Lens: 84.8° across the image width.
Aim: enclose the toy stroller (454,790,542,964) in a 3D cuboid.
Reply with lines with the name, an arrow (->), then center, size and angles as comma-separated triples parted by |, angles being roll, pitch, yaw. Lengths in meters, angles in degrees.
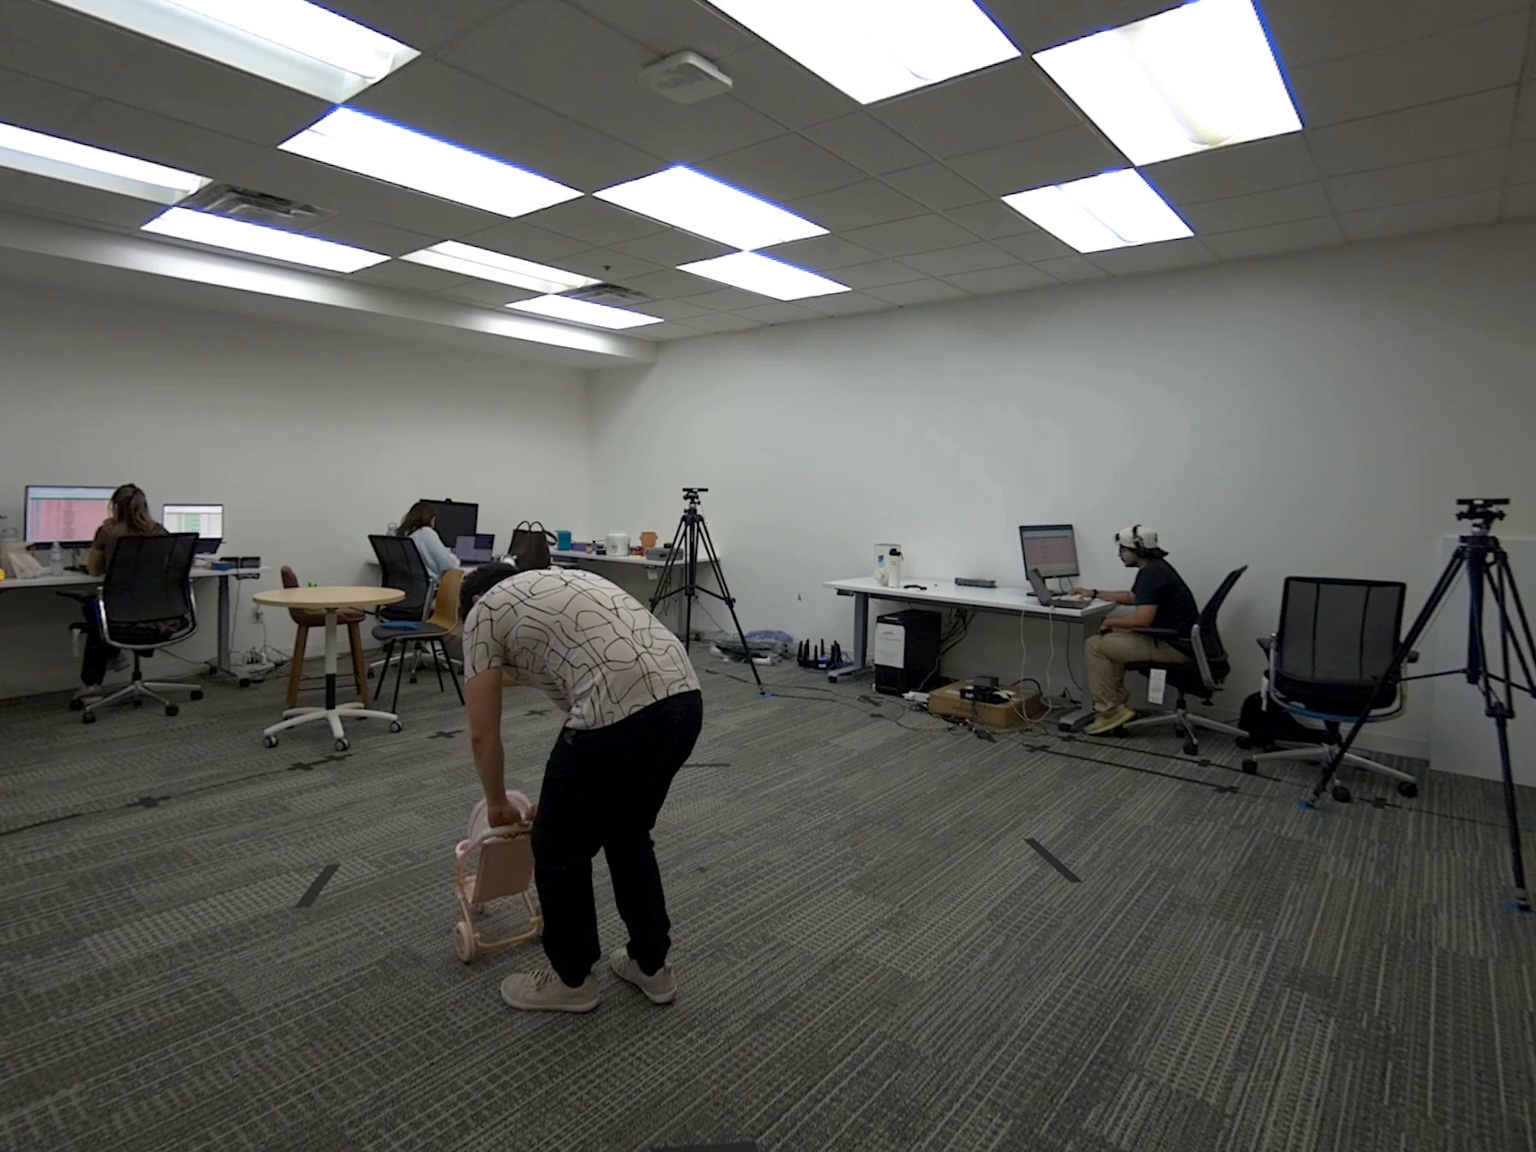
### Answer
toy stroller -> -0.833, 0.885, 2.599 | 0.274, 0.528, 0.355 | -1, 21, -32
